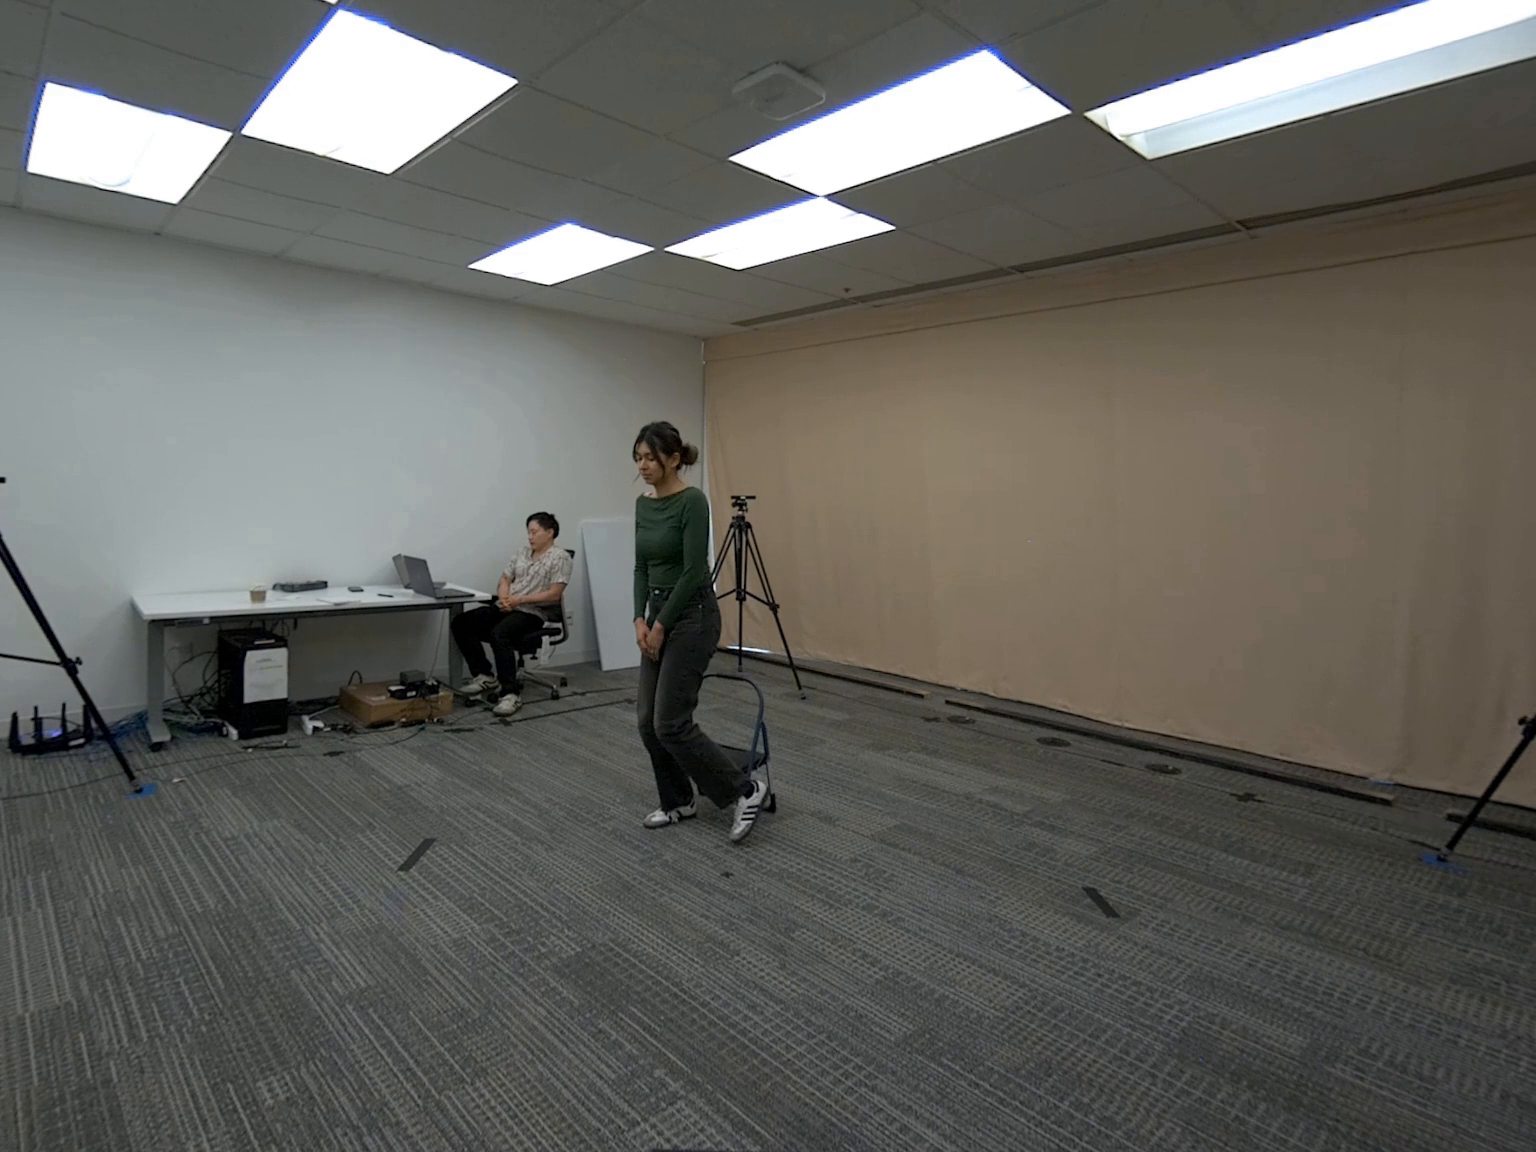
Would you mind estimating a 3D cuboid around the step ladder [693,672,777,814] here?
[{"bbox_3d":[-0.222,0.747,3.694,0.440,0.604,0.342,4,4,30],"label":"step ladder"}]
